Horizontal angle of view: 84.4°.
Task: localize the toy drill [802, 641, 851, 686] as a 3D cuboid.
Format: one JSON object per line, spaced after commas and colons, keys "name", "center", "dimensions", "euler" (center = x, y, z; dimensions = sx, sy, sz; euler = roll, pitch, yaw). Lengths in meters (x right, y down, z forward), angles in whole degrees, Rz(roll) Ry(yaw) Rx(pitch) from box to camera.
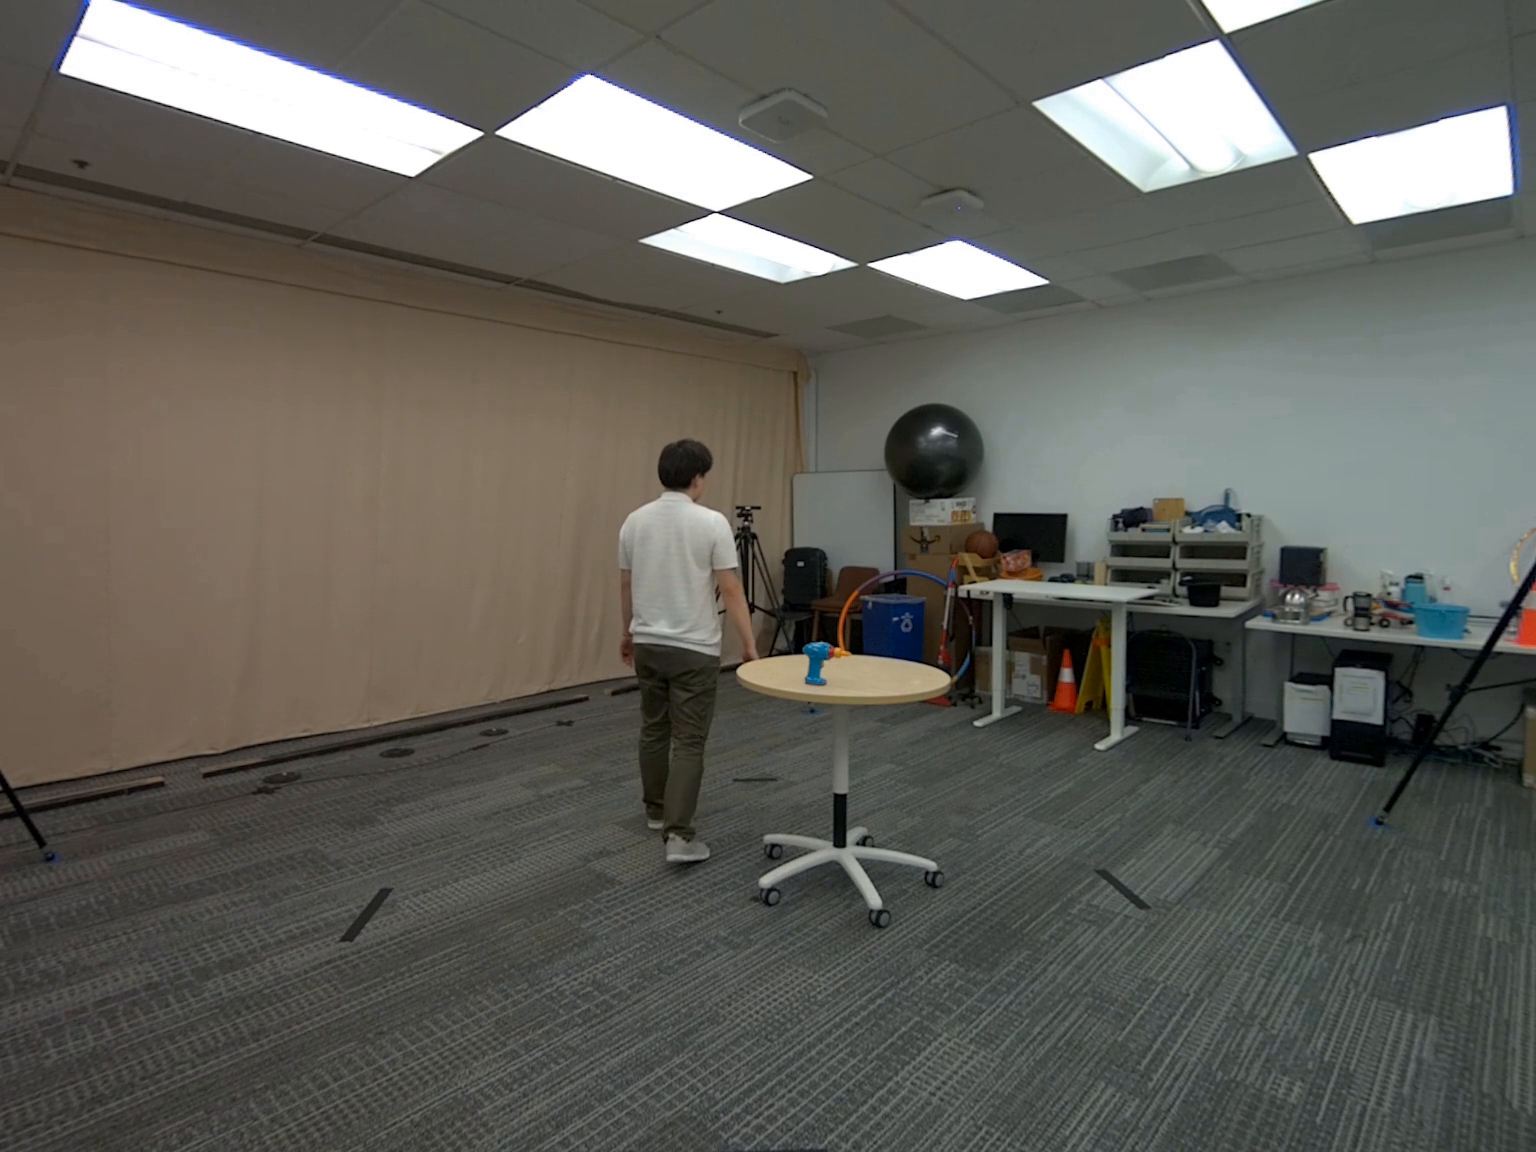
{"name": "toy drill", "center": [0.208, 0.296, 2.851], "dimensions": [0.173, 0.146, 0.060], "euler": [3, 3, 16]}
